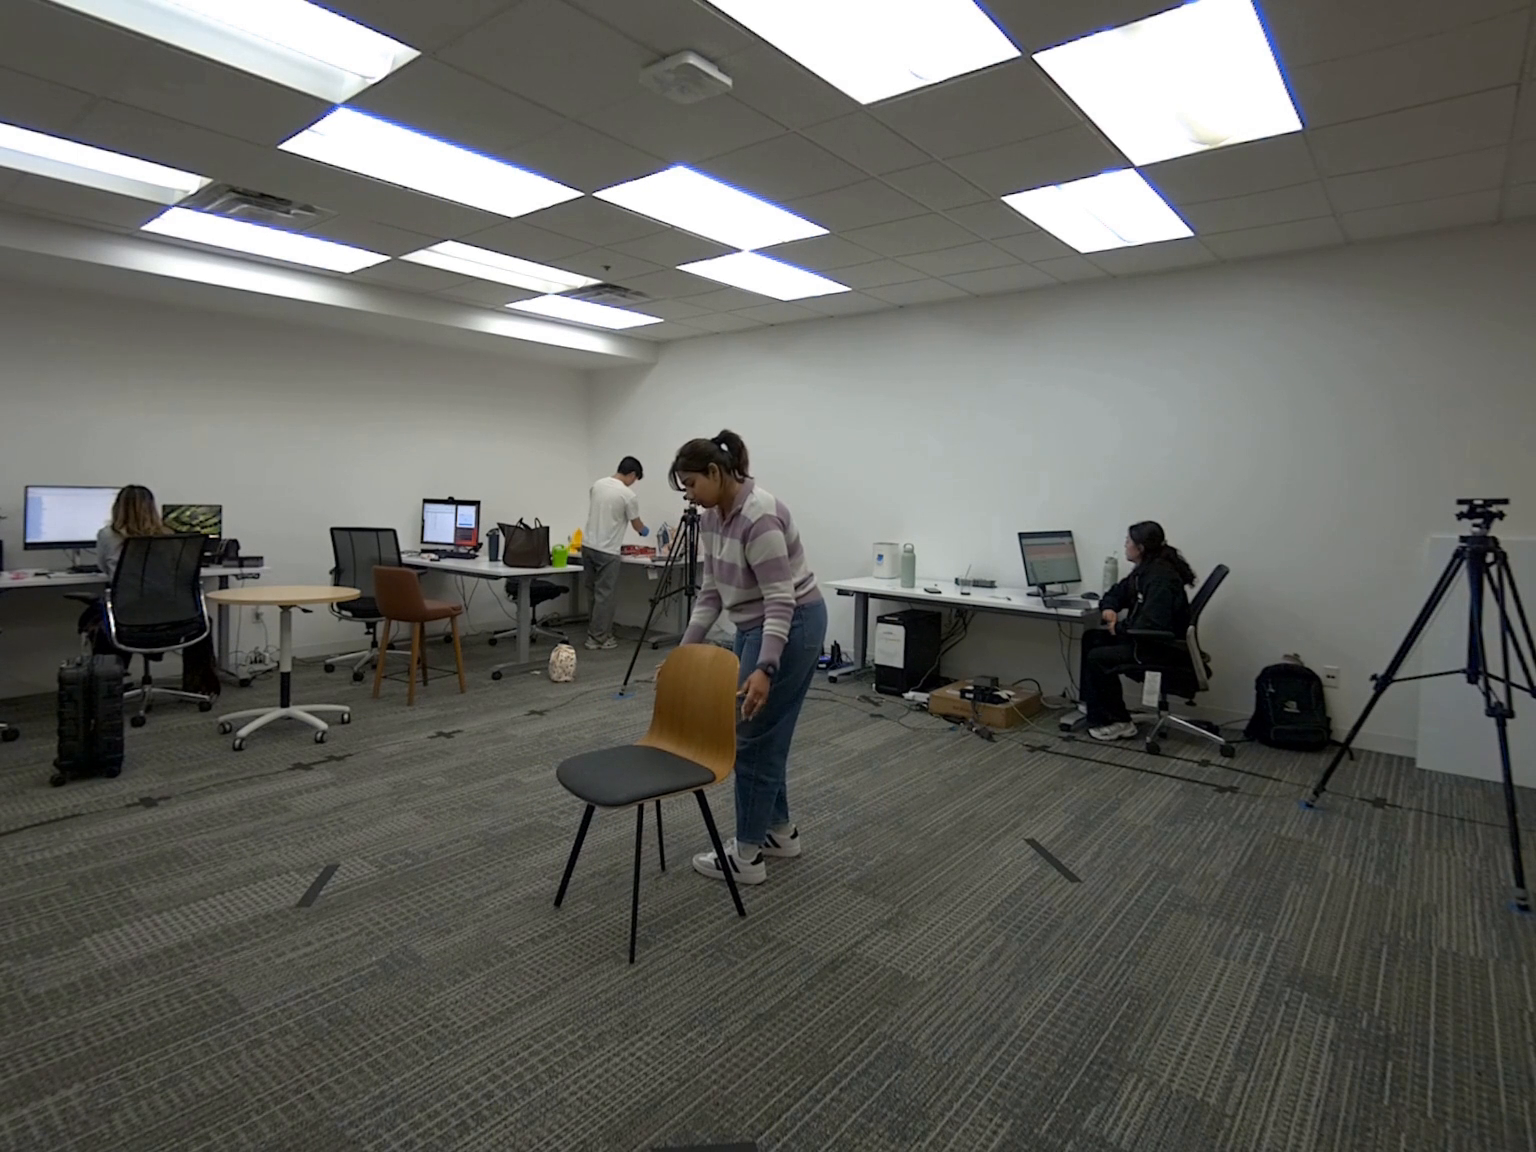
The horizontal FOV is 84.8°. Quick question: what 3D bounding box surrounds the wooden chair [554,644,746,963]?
[{"bbox_3d":[-0.394,0.672,2.760,0.506,0.877,0.494,4,0,-42],"label":"wooden chair"}]
